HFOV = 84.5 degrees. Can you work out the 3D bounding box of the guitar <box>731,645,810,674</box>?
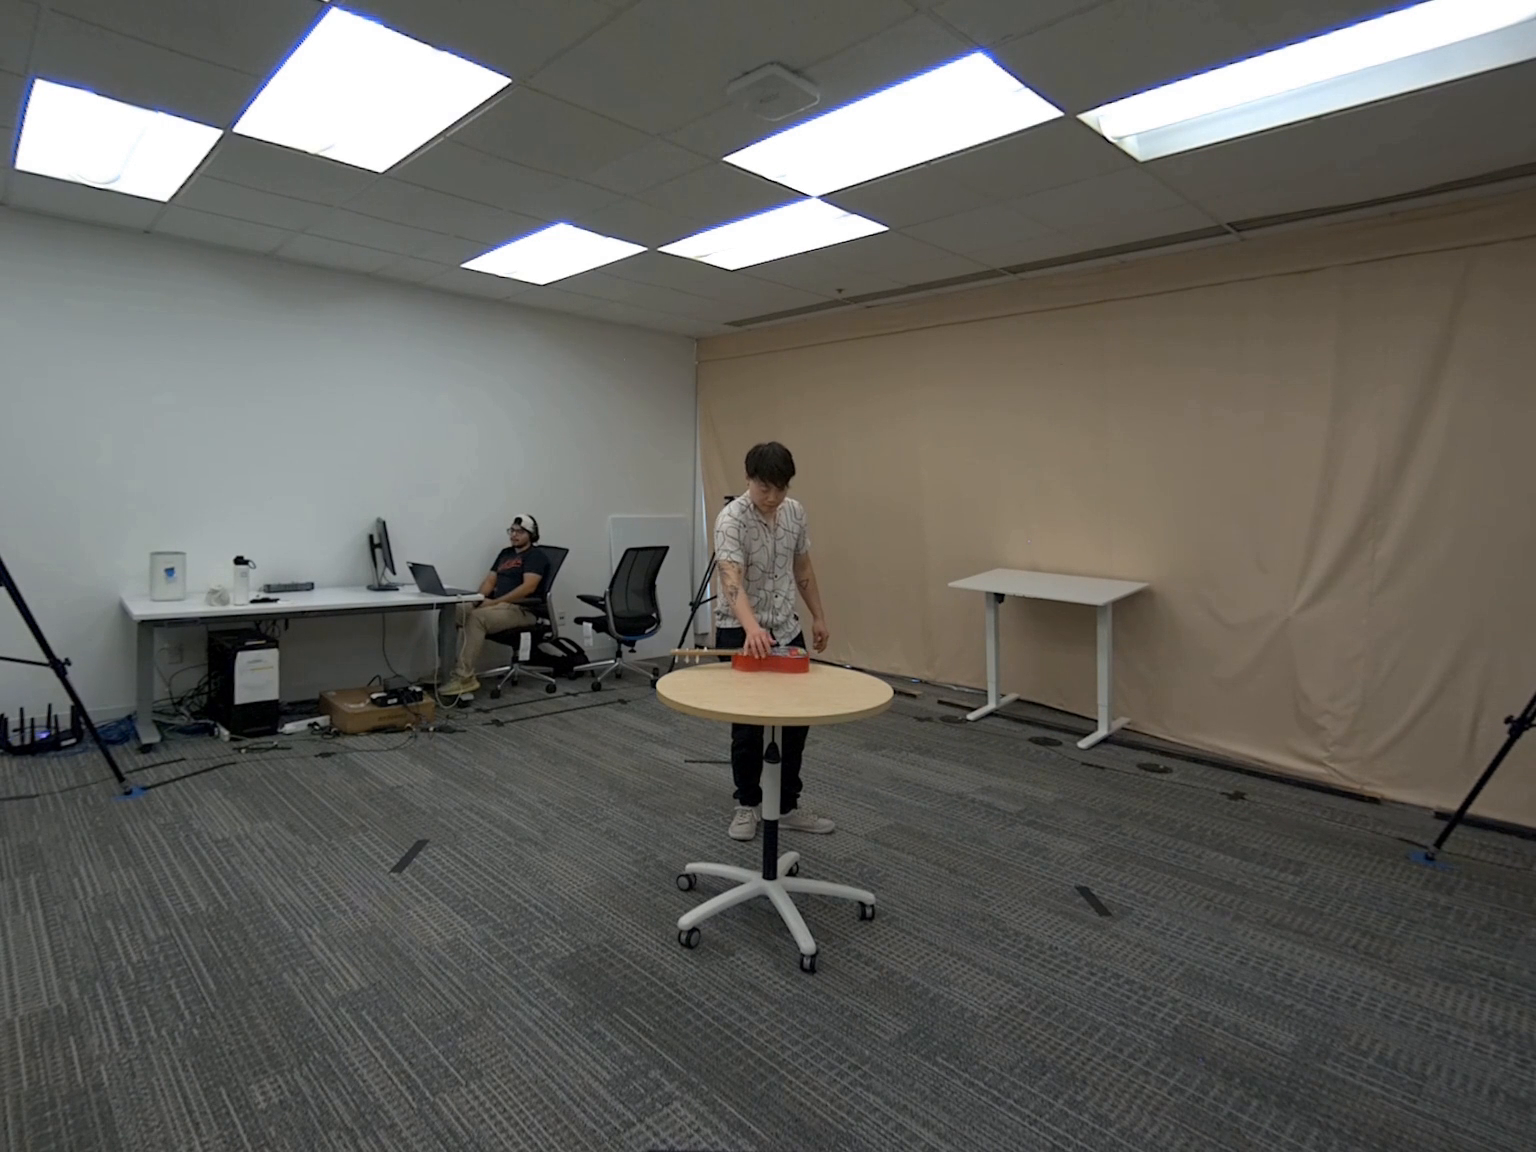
[{"bbox_3d":[-0.103,0.293,3.029,0.500,0.070,0.193,2,5,4],"label":"guitar"}]
